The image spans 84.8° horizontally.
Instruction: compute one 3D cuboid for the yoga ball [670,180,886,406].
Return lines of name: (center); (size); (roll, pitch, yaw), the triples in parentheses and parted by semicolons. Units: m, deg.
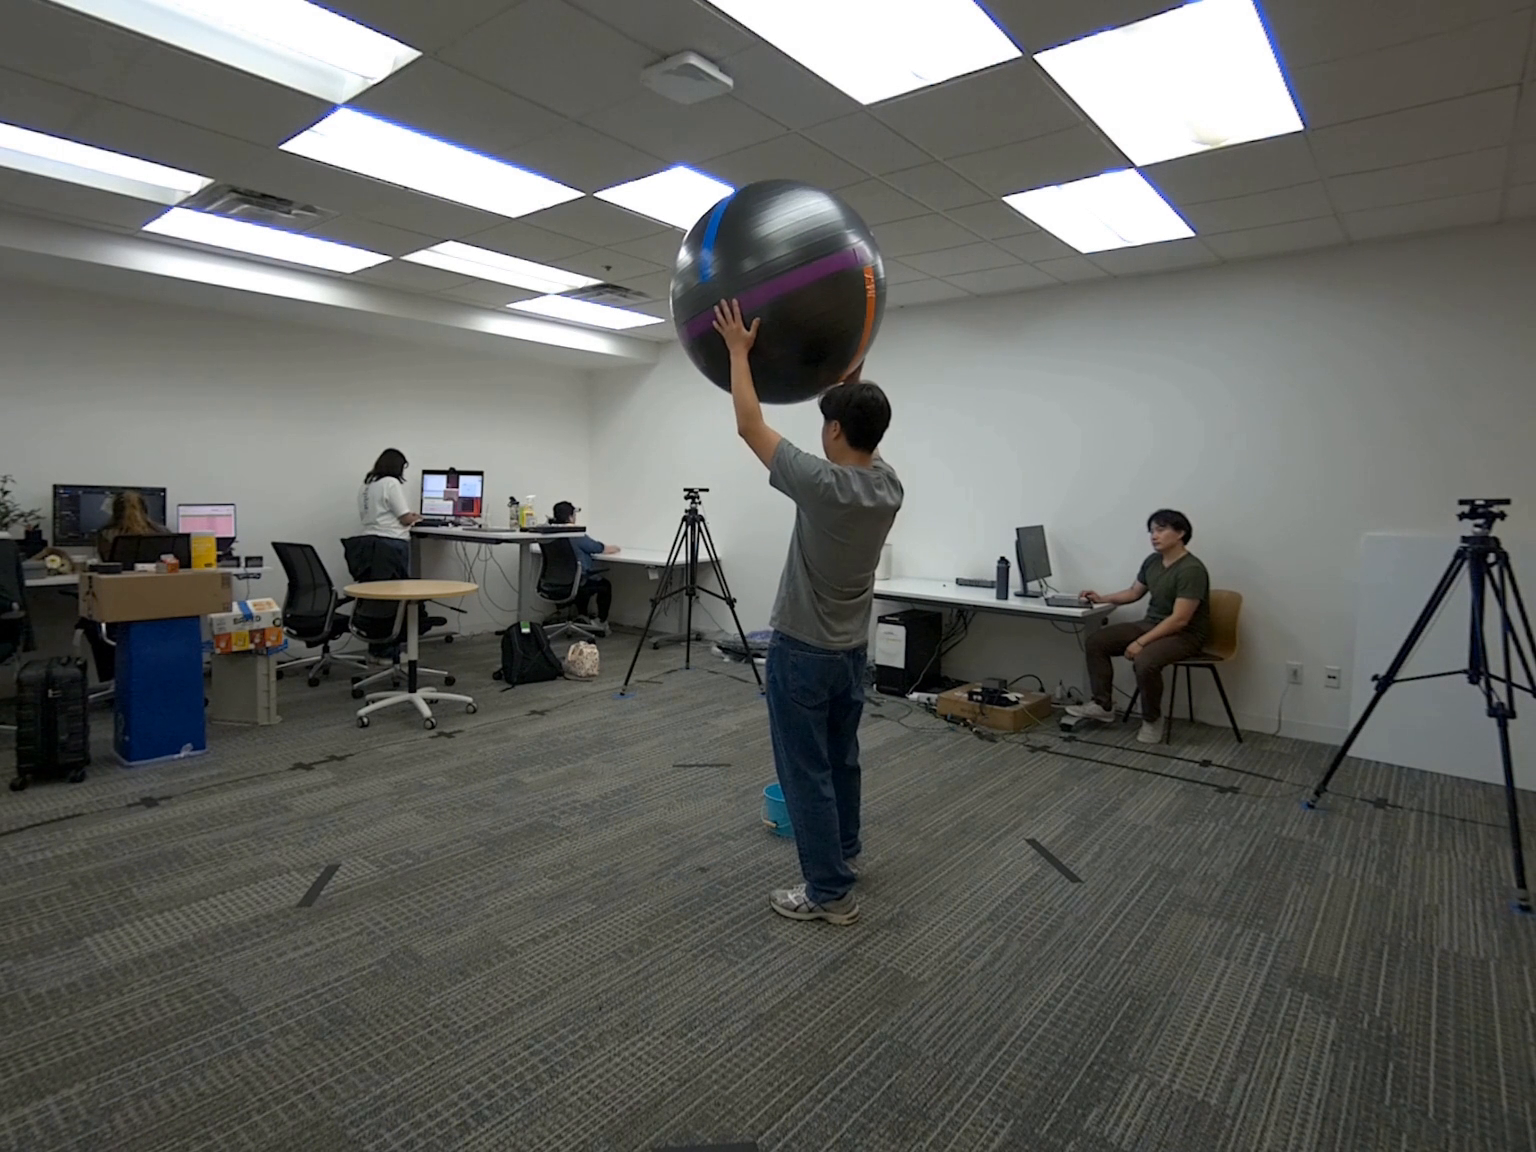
yoga ball: (0.015, -0.984, 3.004); (0.757, 0.756, 0.761); (1, 4, -2)
